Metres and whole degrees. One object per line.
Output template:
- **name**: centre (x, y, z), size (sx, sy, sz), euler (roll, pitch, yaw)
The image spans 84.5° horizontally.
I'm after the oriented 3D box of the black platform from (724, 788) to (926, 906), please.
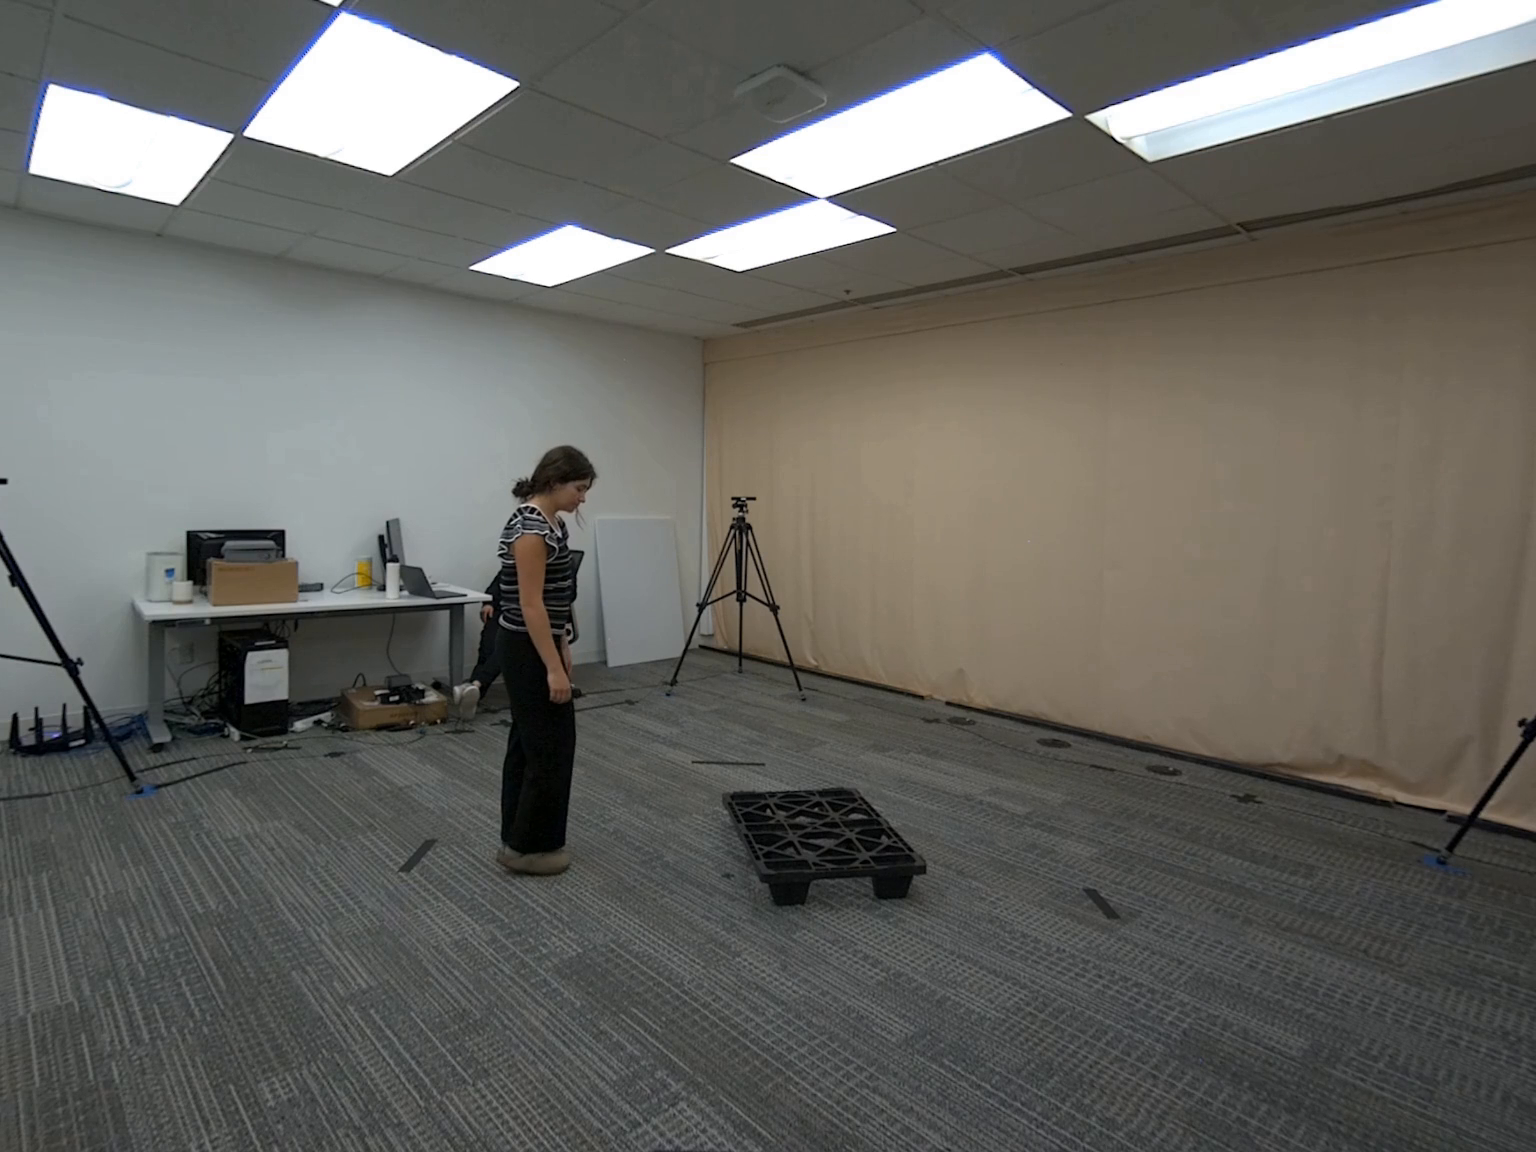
- **black platform**: centre (0.170, 1.029, 3.273), size (0.599, 0.143, 0.815), euler (1, 5, -12)
